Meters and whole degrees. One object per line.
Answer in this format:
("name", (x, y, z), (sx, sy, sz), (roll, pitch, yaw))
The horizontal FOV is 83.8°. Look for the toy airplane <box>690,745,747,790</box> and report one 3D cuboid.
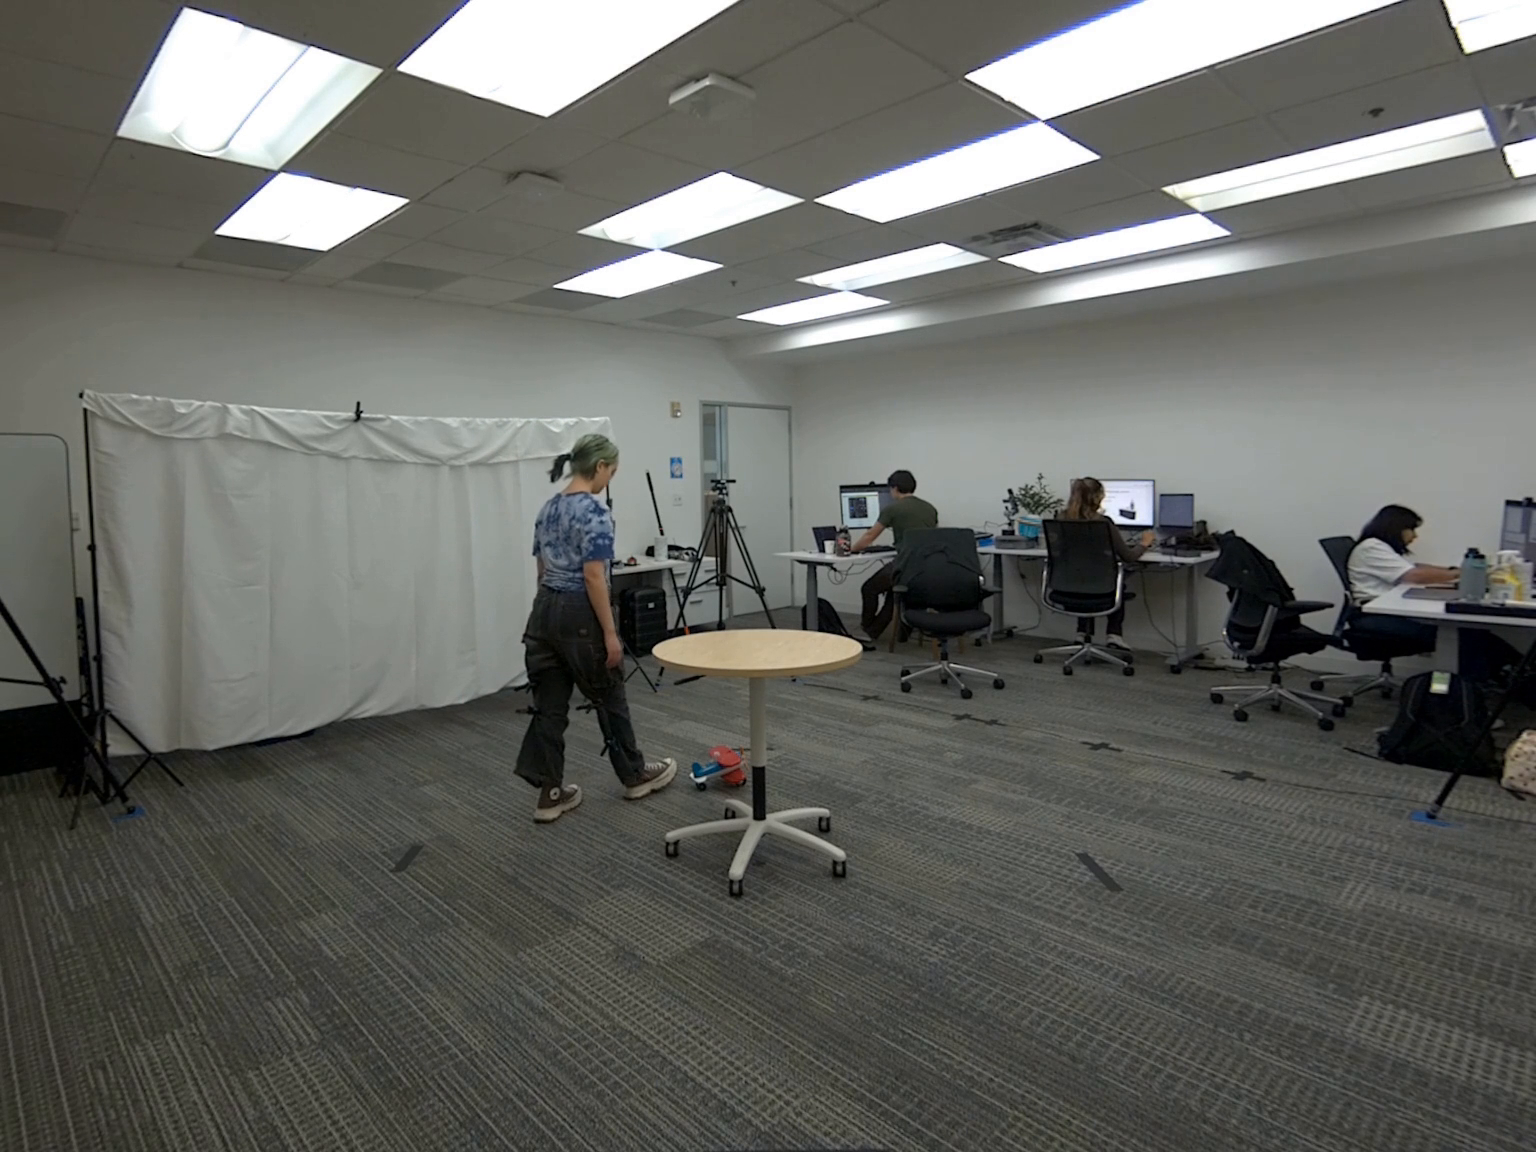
("toy airplane", (-0.216, 0.887, 3.891), (0.258, 0.156, 0.252), (3, 5, 37))
